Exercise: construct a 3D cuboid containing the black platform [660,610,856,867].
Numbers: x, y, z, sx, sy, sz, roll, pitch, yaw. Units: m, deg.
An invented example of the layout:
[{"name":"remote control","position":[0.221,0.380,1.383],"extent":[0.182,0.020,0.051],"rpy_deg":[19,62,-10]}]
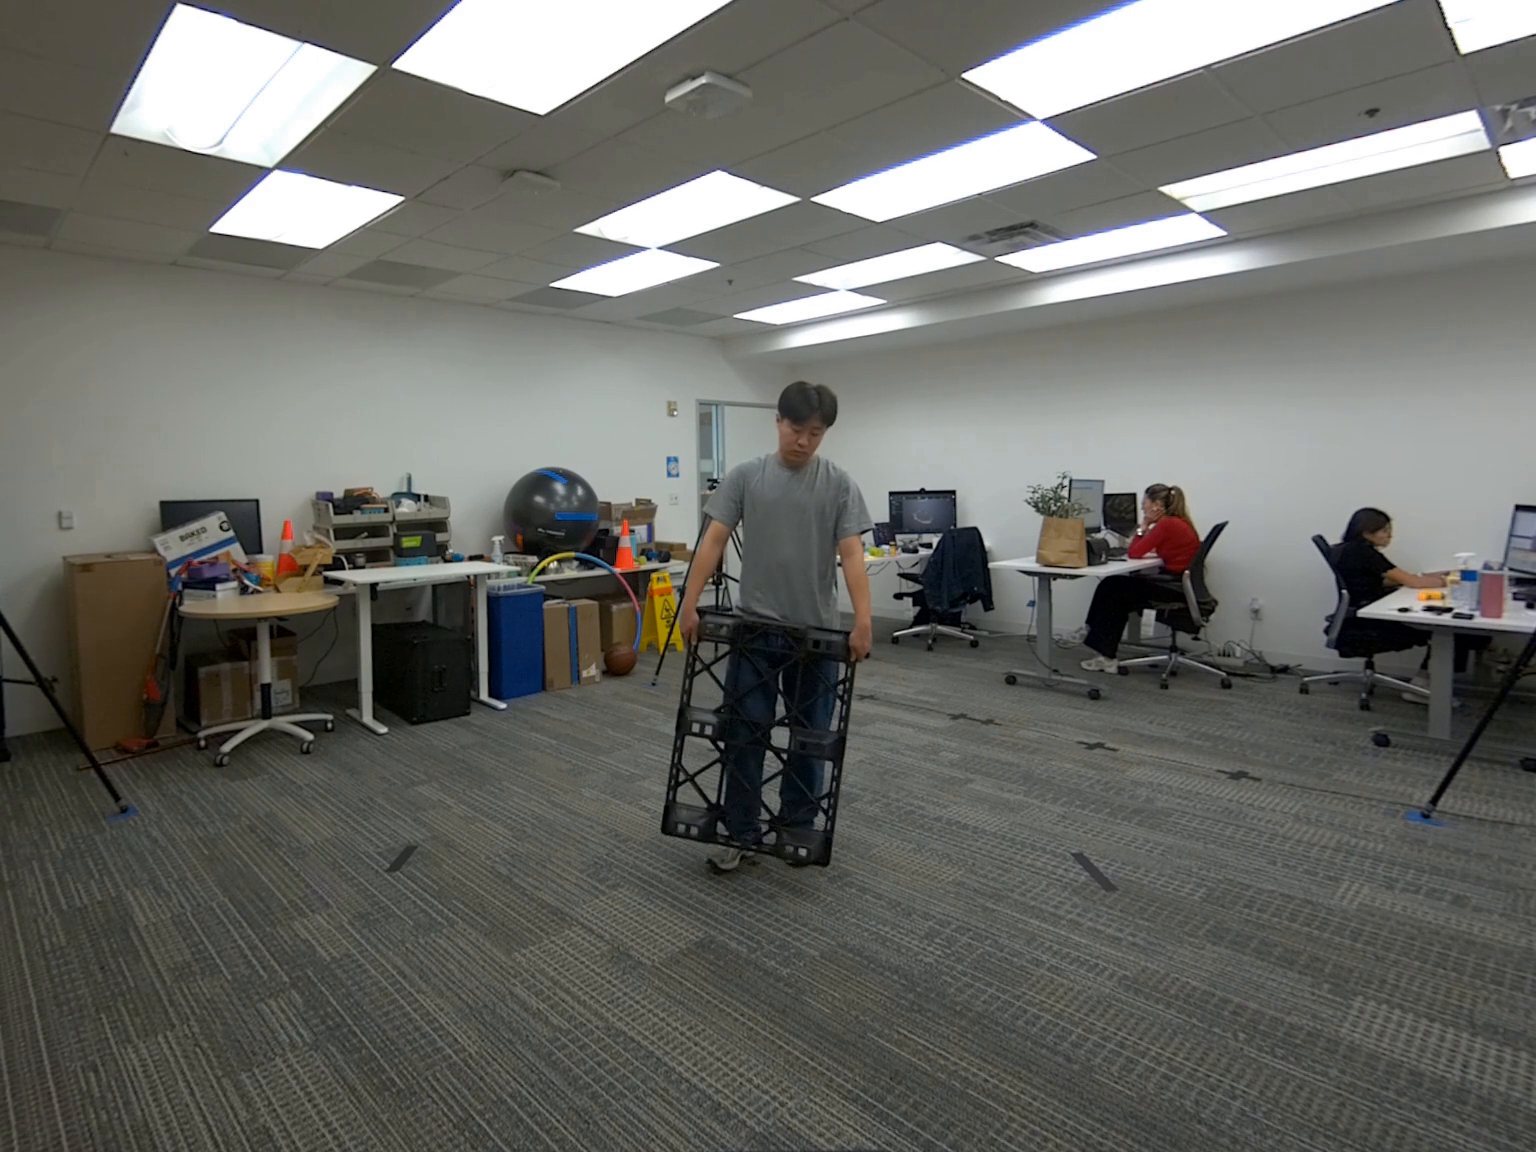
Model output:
[{"name":"black platform","position":[-0.029,0.567,2.938],"extent":[0.613,0.808,0.141],"rpy_deg":[7,-4,11]}]
